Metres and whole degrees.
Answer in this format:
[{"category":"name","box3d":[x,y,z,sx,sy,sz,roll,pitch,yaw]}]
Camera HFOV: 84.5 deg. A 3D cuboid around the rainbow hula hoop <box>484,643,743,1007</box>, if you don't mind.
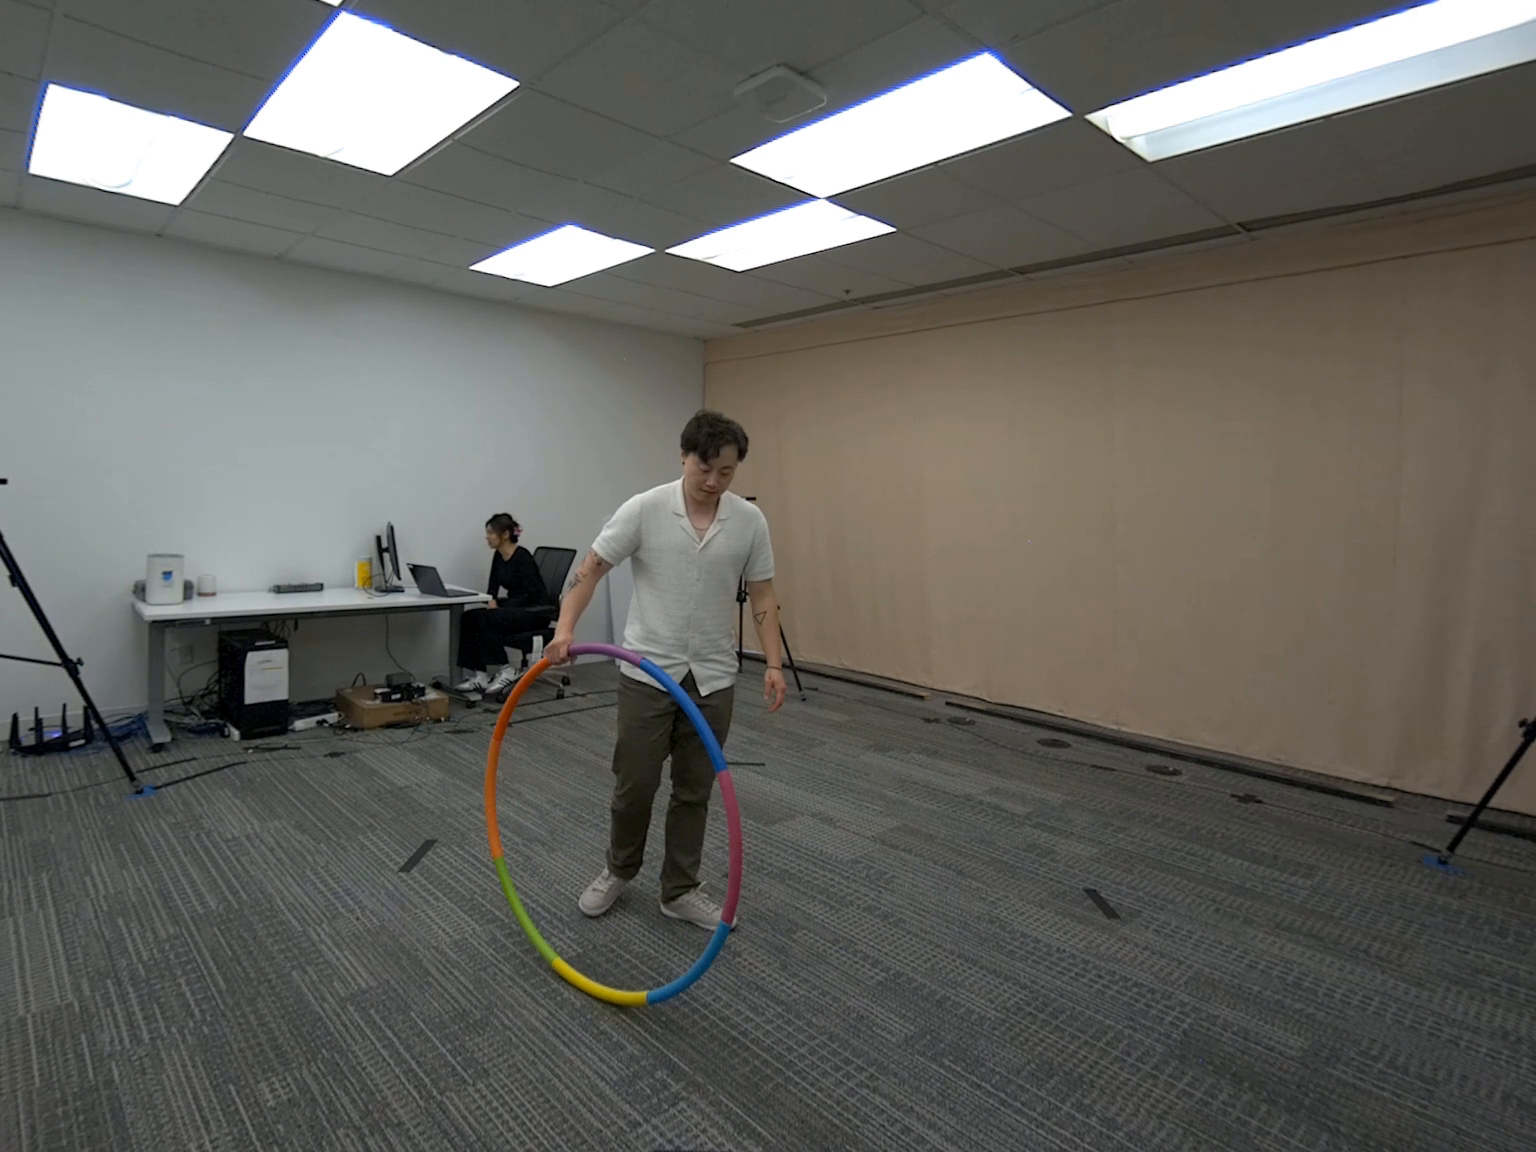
[{"category":"rainbow hula hoop","box3d":[-0.483,0.688,2.360,1.002,0.978,0.035,4,0,36]}]
